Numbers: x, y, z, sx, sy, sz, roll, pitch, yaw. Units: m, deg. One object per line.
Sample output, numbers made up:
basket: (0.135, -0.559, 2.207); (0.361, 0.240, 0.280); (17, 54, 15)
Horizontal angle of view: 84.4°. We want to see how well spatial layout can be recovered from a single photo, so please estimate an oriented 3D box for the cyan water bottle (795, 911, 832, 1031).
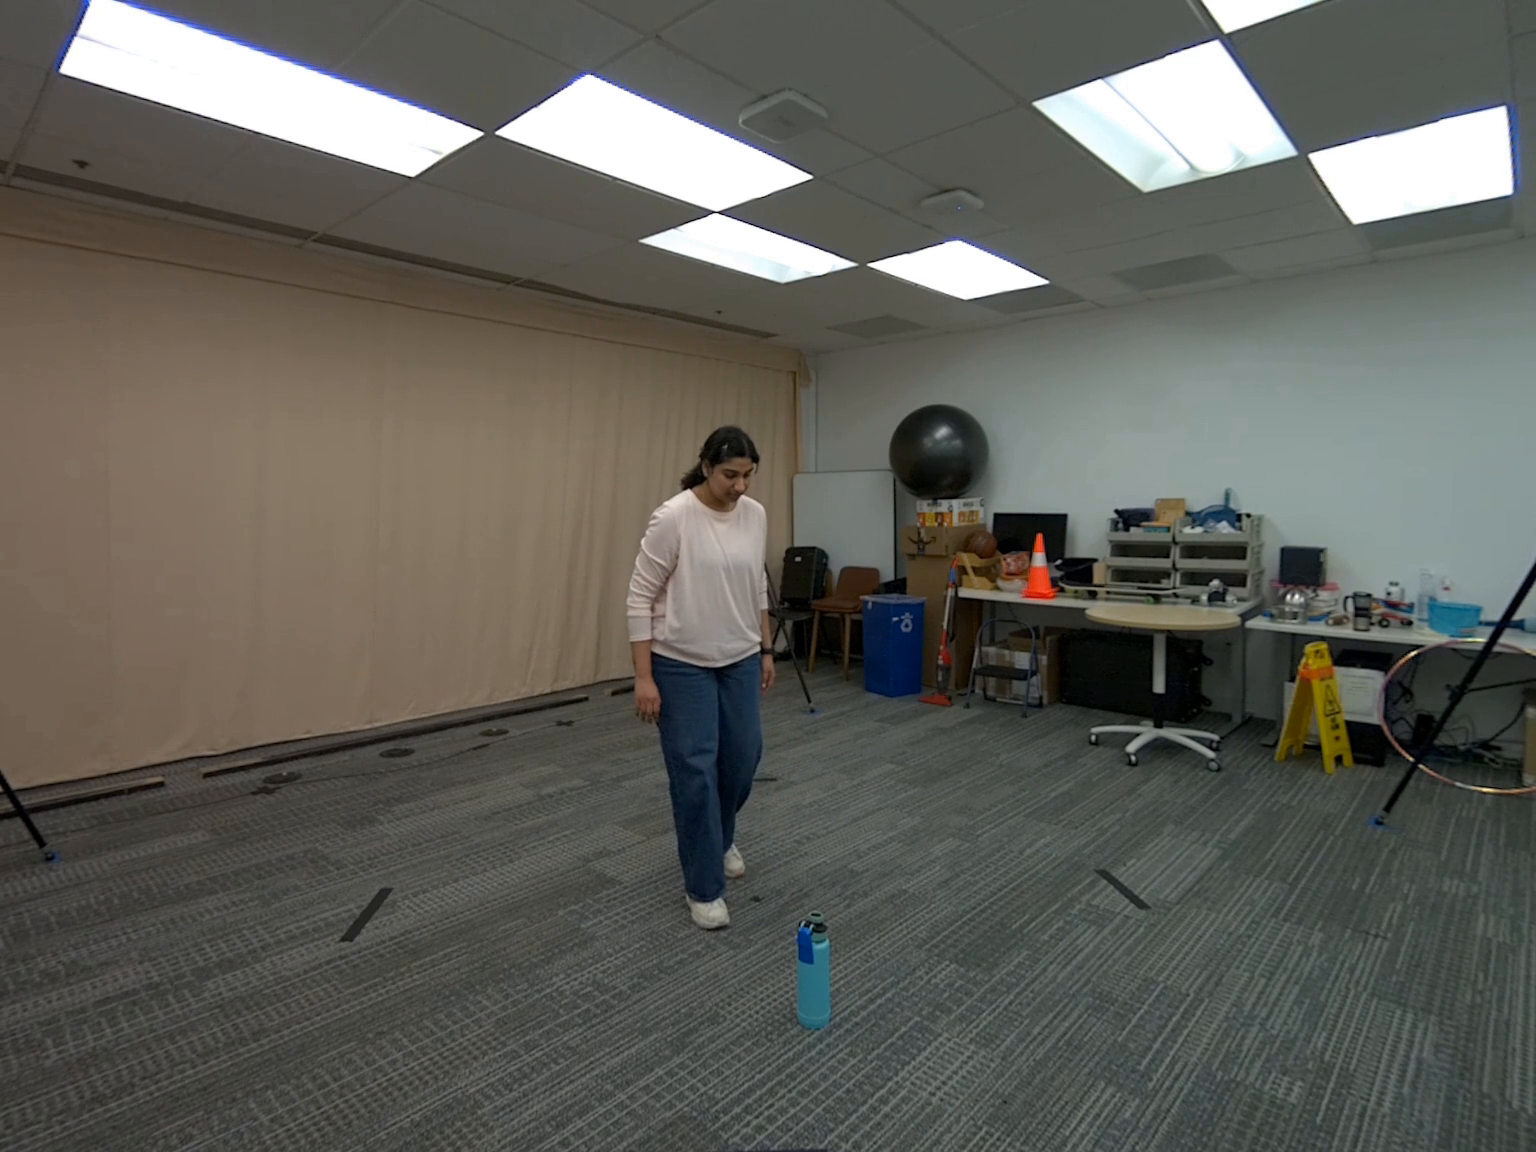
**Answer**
cyan water bottle: (0.129, 1.066, 2.270); (0.092, 0.283, 0.092); (1, 3, -2)
